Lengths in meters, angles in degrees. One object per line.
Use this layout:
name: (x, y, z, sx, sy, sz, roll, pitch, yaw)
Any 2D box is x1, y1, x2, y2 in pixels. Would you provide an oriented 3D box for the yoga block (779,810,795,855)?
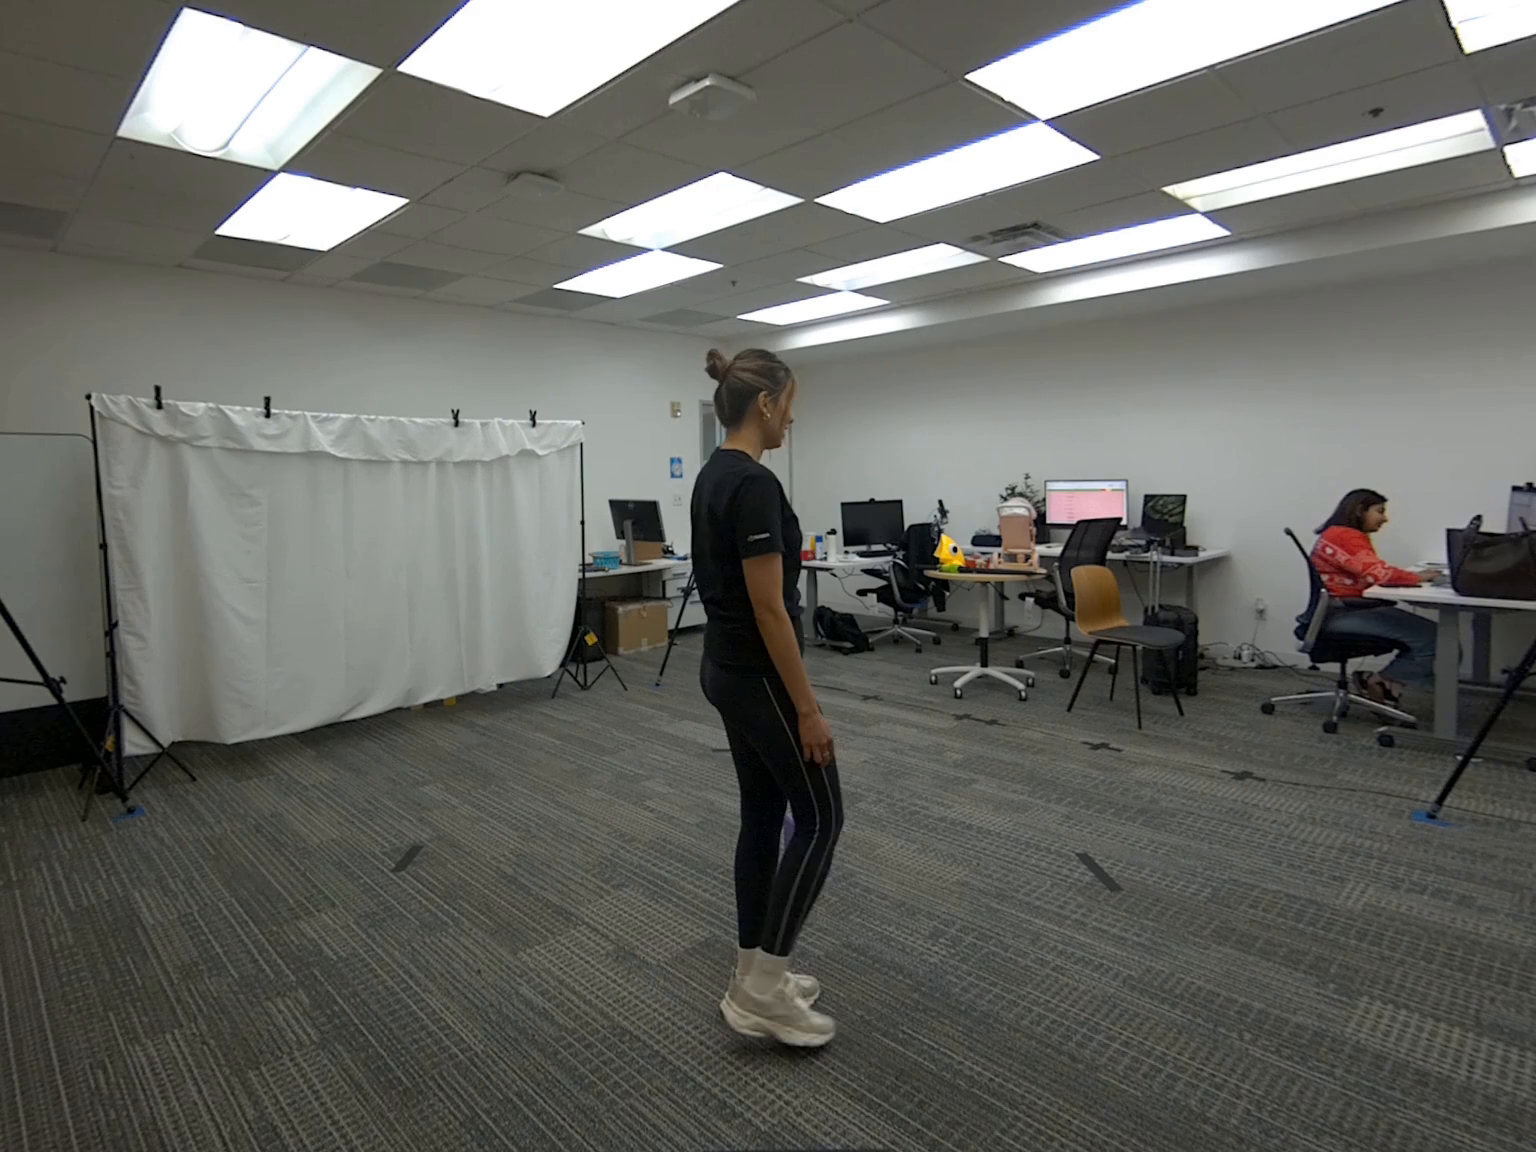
yoga block: (0.126, 0.947, 2.928, 0.075, 0.228, 0.152, -2, 4, -23)
